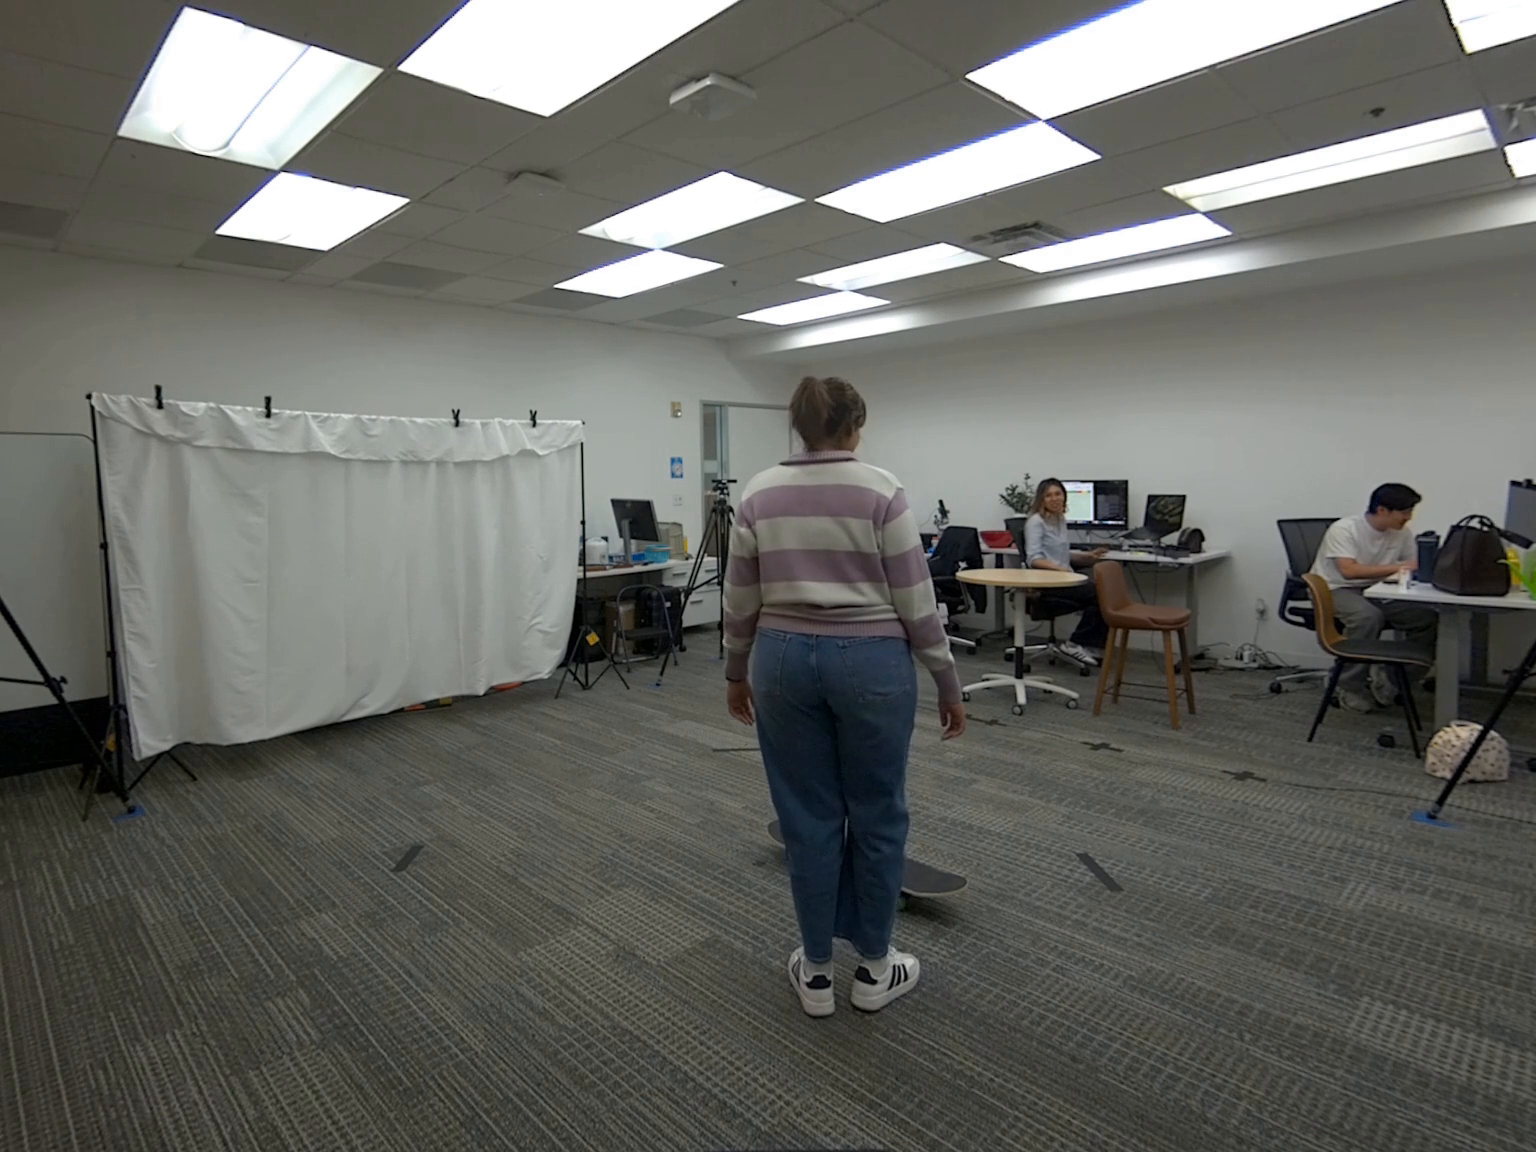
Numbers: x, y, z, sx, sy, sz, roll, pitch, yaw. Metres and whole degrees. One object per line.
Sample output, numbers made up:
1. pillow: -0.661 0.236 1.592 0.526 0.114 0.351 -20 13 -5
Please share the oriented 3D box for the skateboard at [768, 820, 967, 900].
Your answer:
1. skateboard: 0.326 1.005 2.942 0.810 0.110 0.188 4 8 43
